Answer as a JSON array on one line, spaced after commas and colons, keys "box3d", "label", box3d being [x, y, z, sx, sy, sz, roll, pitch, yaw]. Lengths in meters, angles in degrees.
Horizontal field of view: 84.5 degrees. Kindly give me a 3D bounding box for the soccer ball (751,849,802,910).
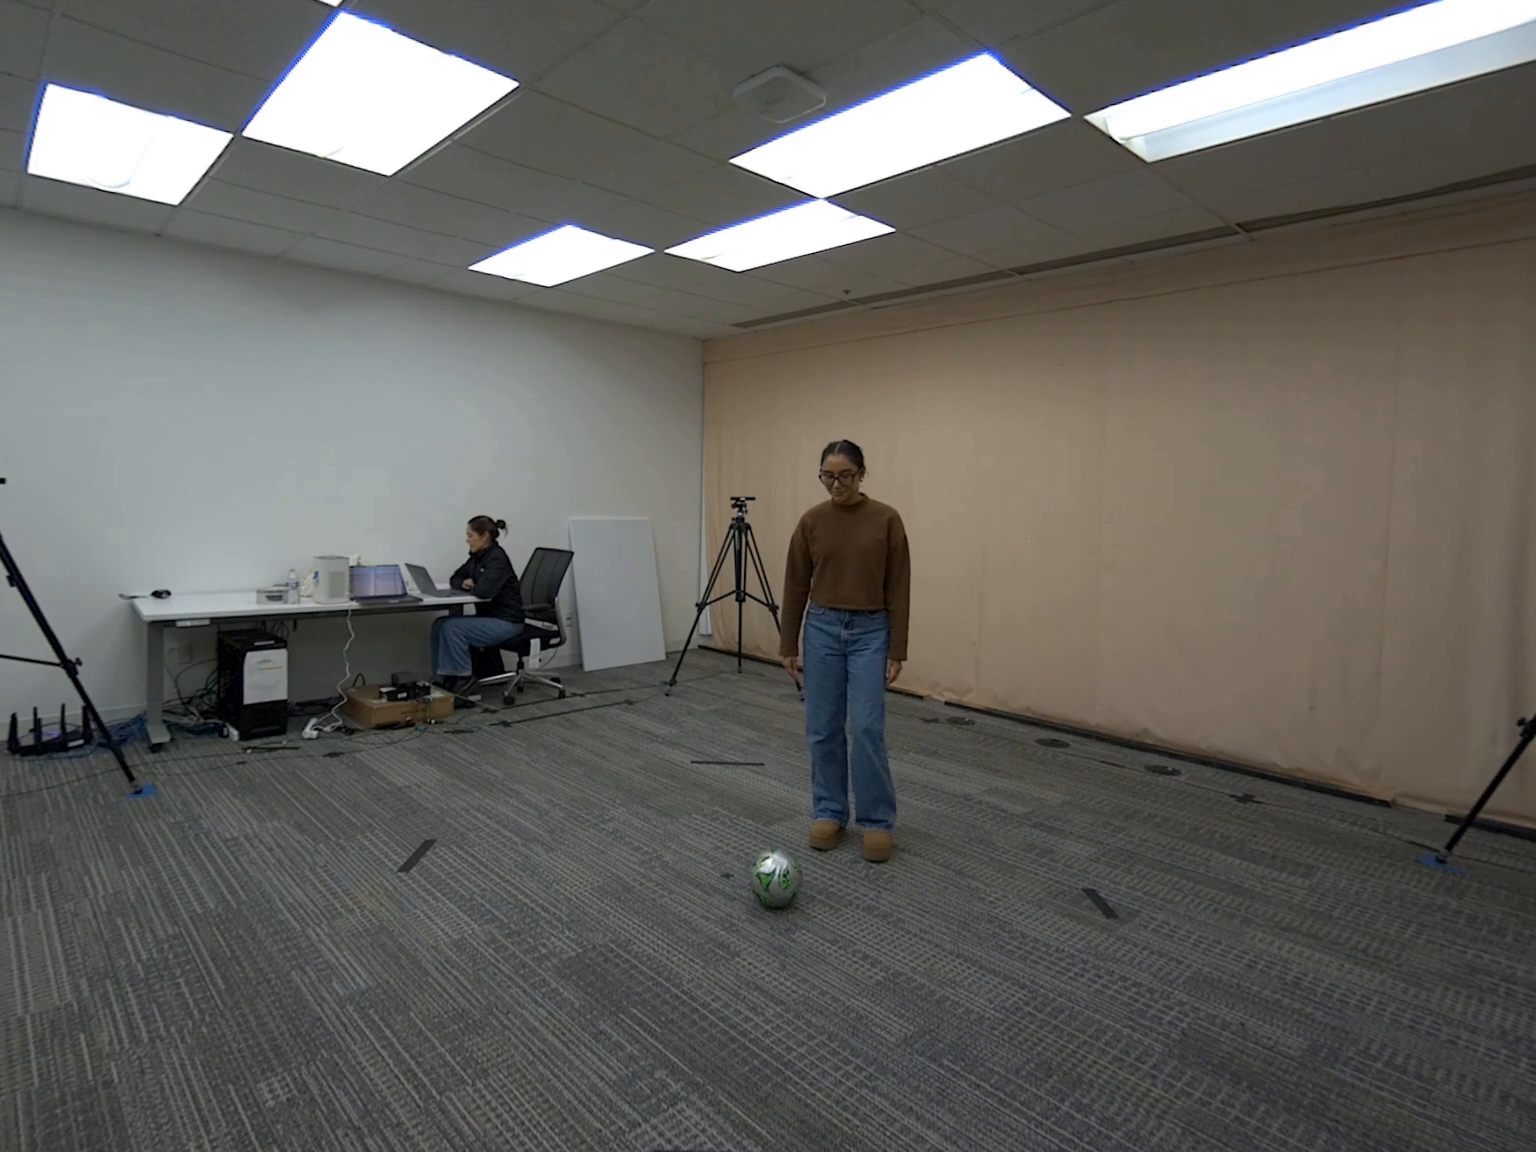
[{"box3d": [0.021, 1.032, 2.883, 0.187, 0.187, 0.188, 1, 4, -1], "label": "soccer ball"}]
